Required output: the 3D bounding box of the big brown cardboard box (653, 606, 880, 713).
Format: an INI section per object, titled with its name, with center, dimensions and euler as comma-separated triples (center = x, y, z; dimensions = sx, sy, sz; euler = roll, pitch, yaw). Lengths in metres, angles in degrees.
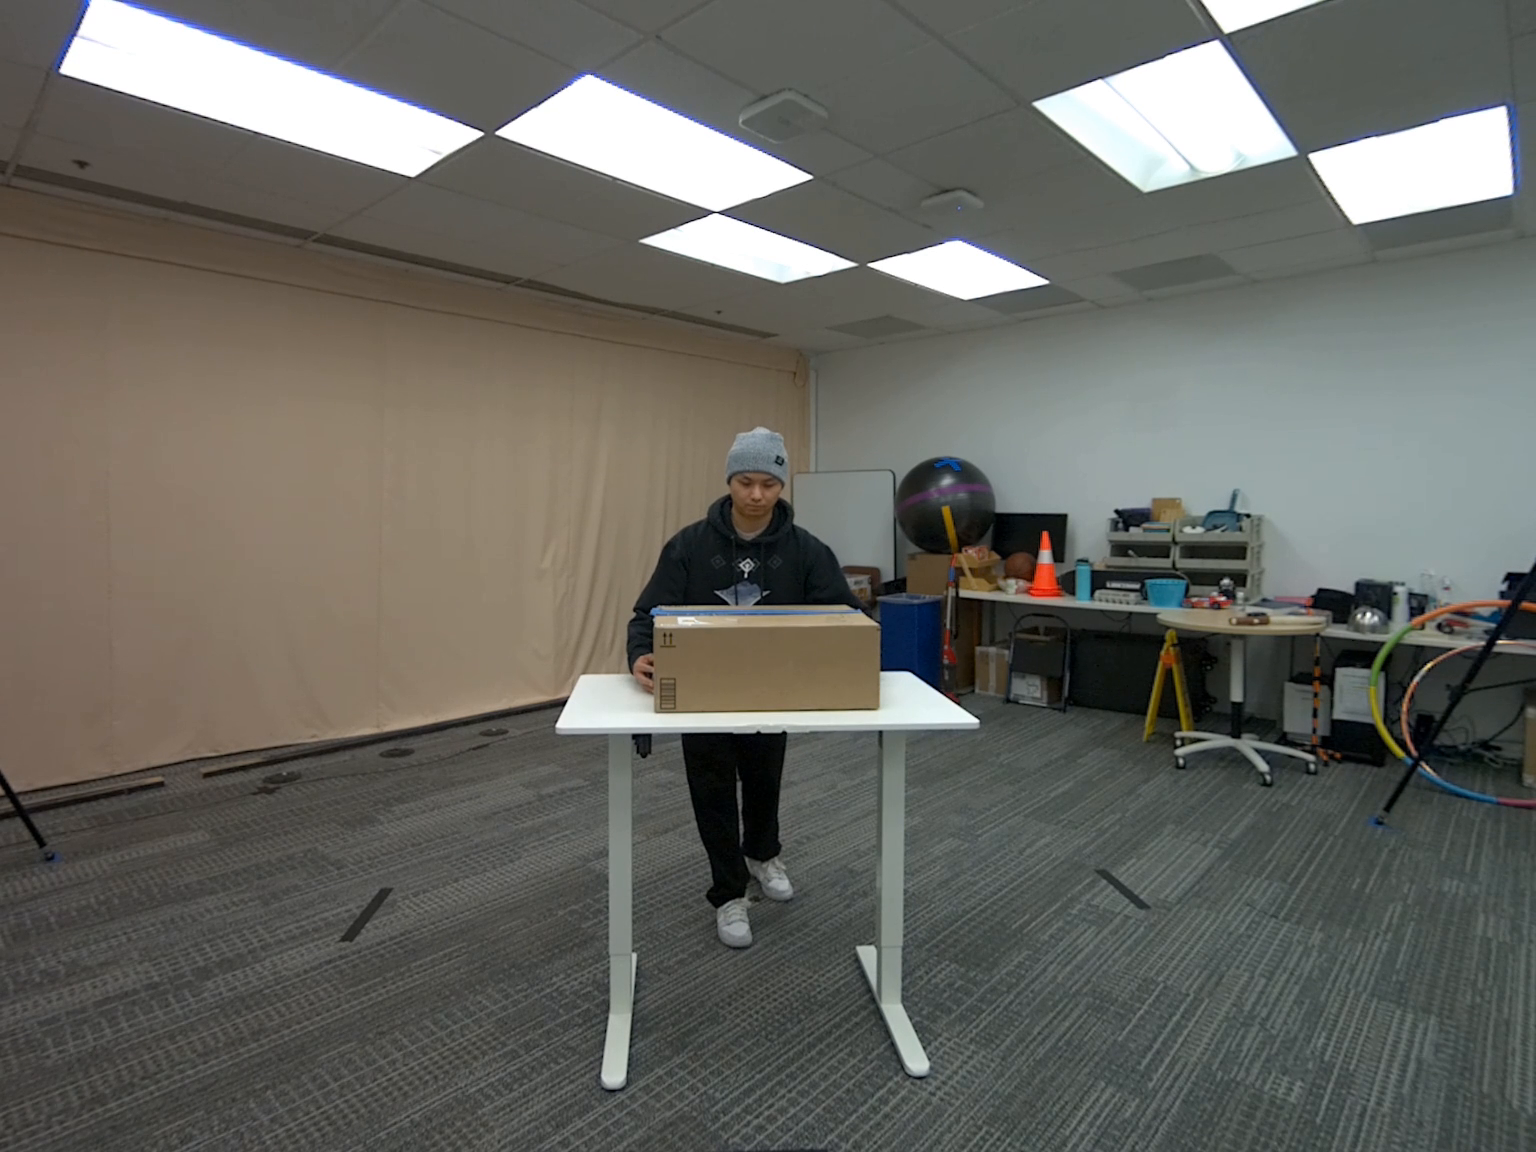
[big brown cardboard box]
center = -0.028, 0.210, 2.296
dimensions = 0.586, 0.232, 0.421
euler = 1, 5, -5
